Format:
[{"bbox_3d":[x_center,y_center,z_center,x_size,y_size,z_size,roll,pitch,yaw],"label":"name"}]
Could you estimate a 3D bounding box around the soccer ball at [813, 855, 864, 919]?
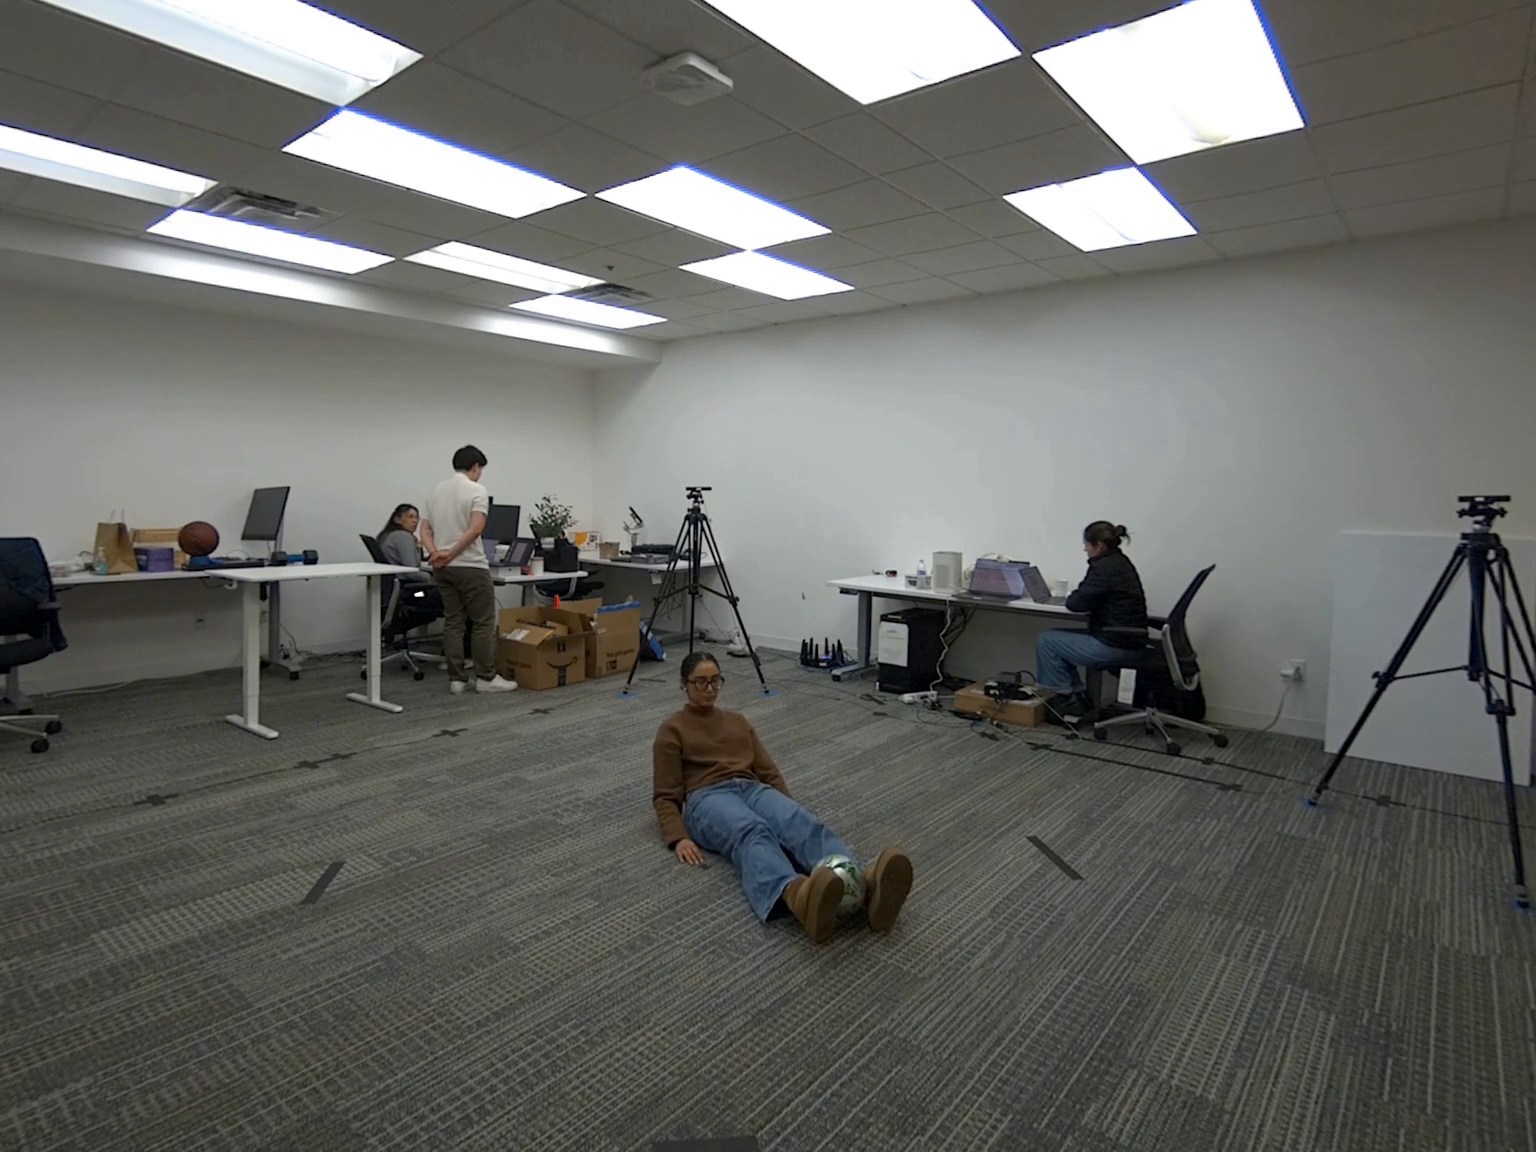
[{"bbox_3d":[0.215,0.995,2.718,0.187,0.187,0.188,1,4,-2],"label":"soccer ball"}]
